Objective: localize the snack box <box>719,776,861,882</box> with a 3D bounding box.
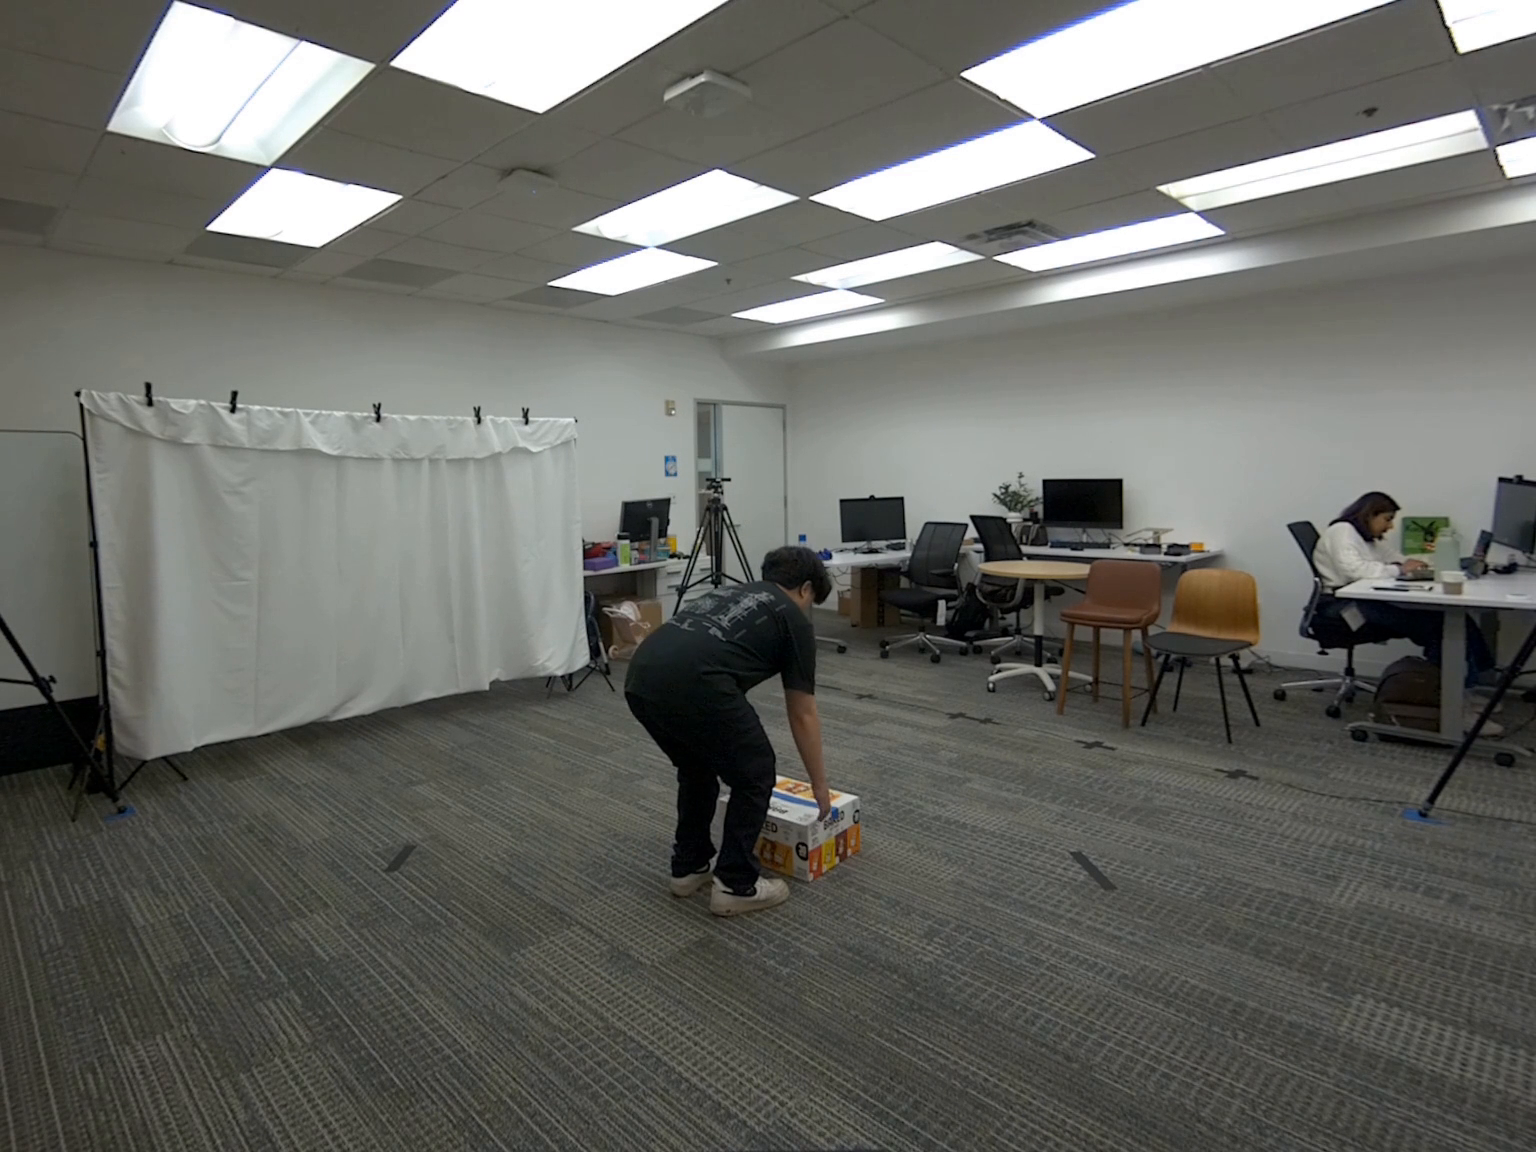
[{"bbox_3d":[0.080,0.928,3.191,0.417,0.205,0.332,4,7,38],"label":"snack box"}]
